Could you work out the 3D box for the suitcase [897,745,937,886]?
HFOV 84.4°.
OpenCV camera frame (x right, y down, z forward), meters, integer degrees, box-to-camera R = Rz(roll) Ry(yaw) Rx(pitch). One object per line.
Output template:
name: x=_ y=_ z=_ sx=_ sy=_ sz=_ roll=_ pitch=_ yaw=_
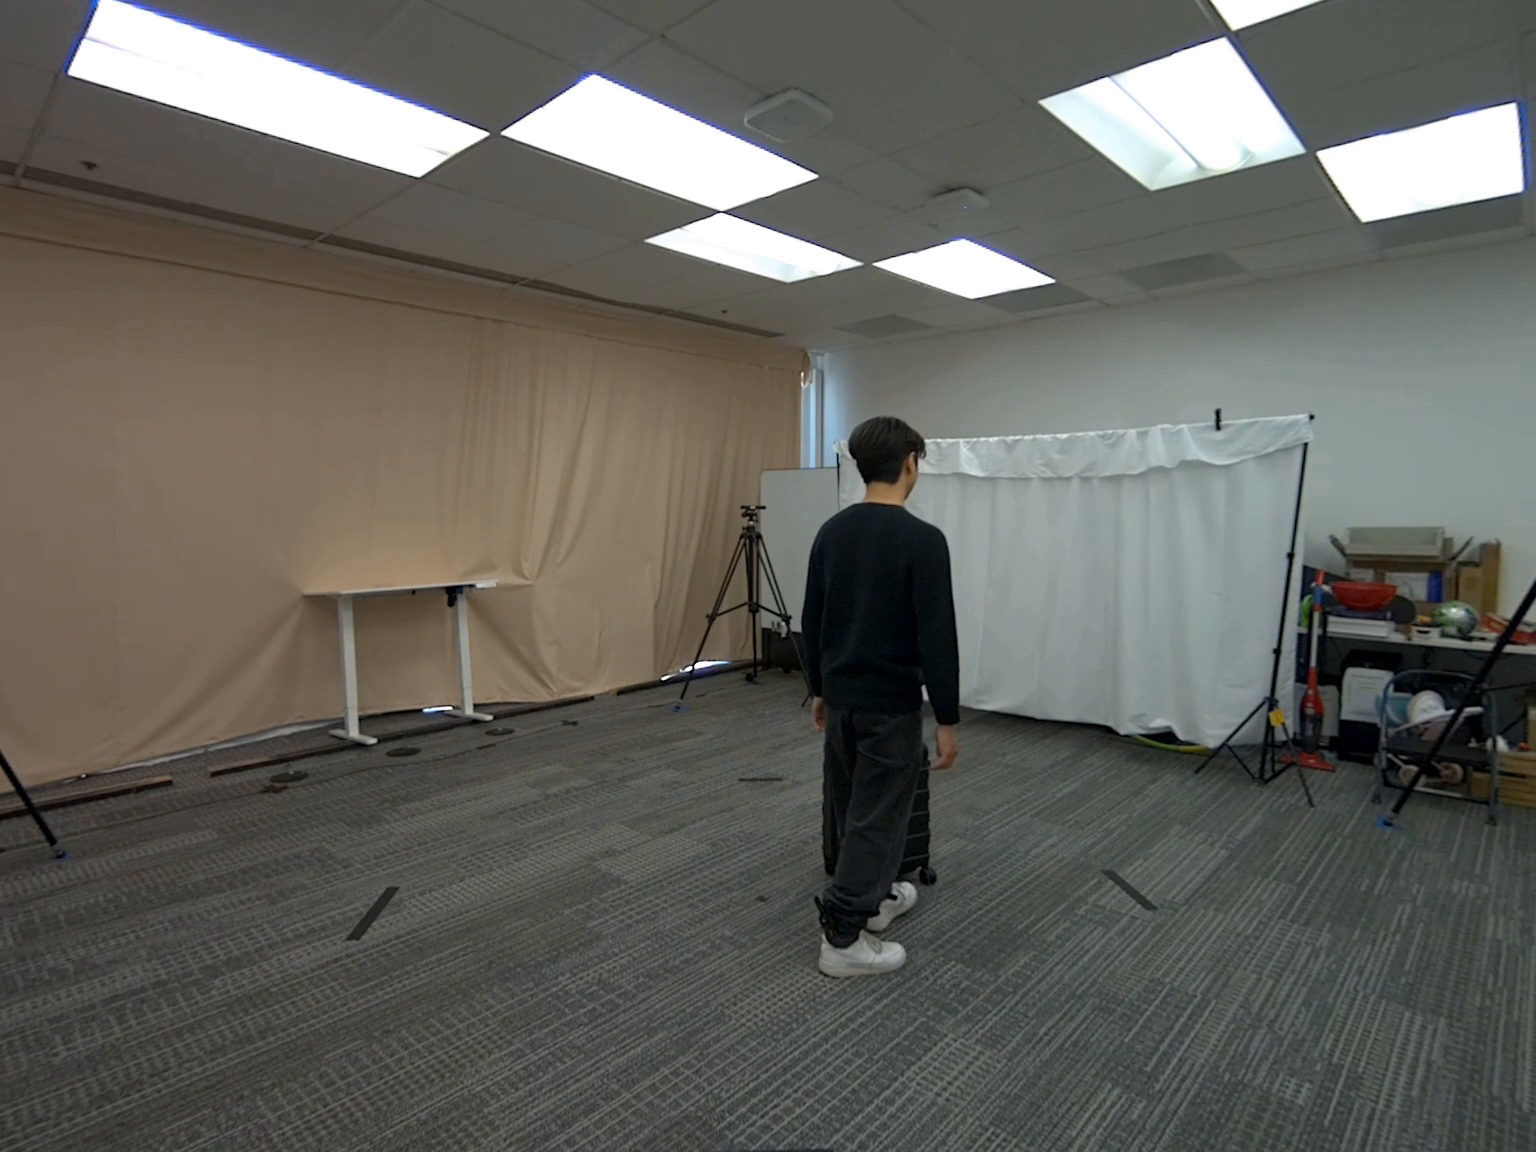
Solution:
suitcase: x=0.409 y=0.651 z=3.146 sx=0.376 sy=0.978 sz=0.262 roll=0 pitch=0 yaw=-21
